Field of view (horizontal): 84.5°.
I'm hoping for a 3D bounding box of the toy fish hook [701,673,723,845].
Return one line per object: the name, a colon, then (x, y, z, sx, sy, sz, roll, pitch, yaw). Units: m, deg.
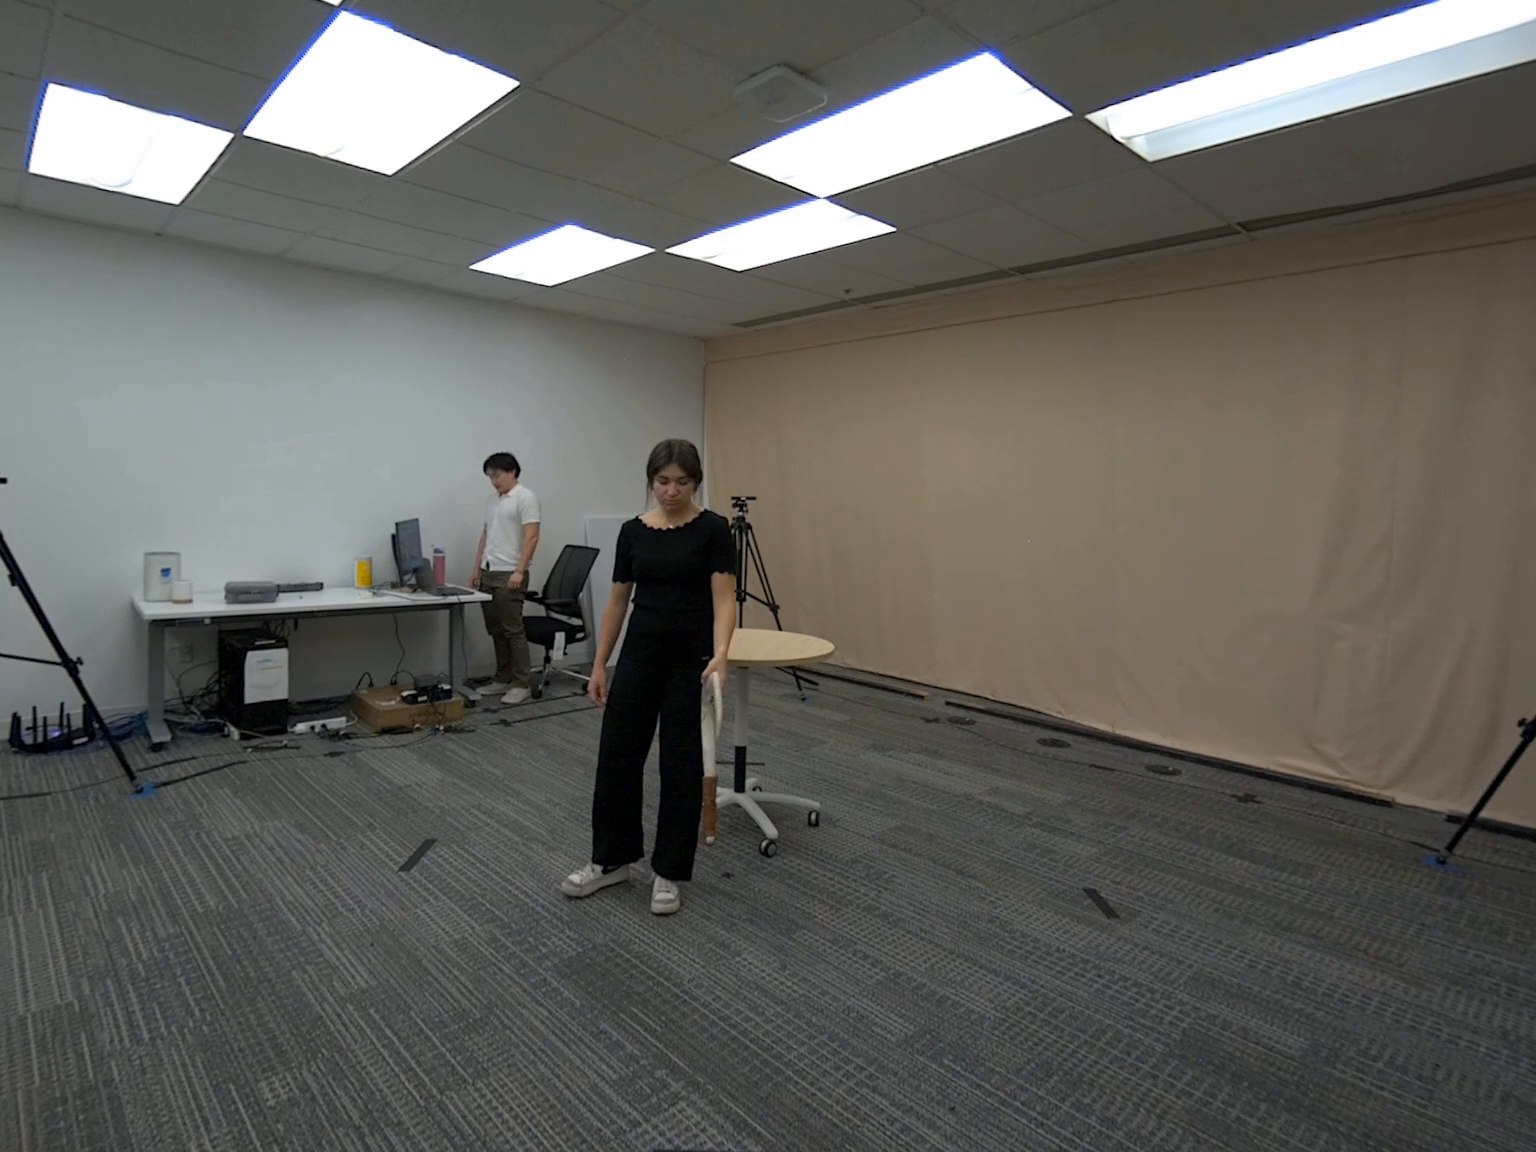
toy fish hook: (-0.182, 0.528, 2.503, 0.048, 0.510, 0.224, -1, -10, -10)
